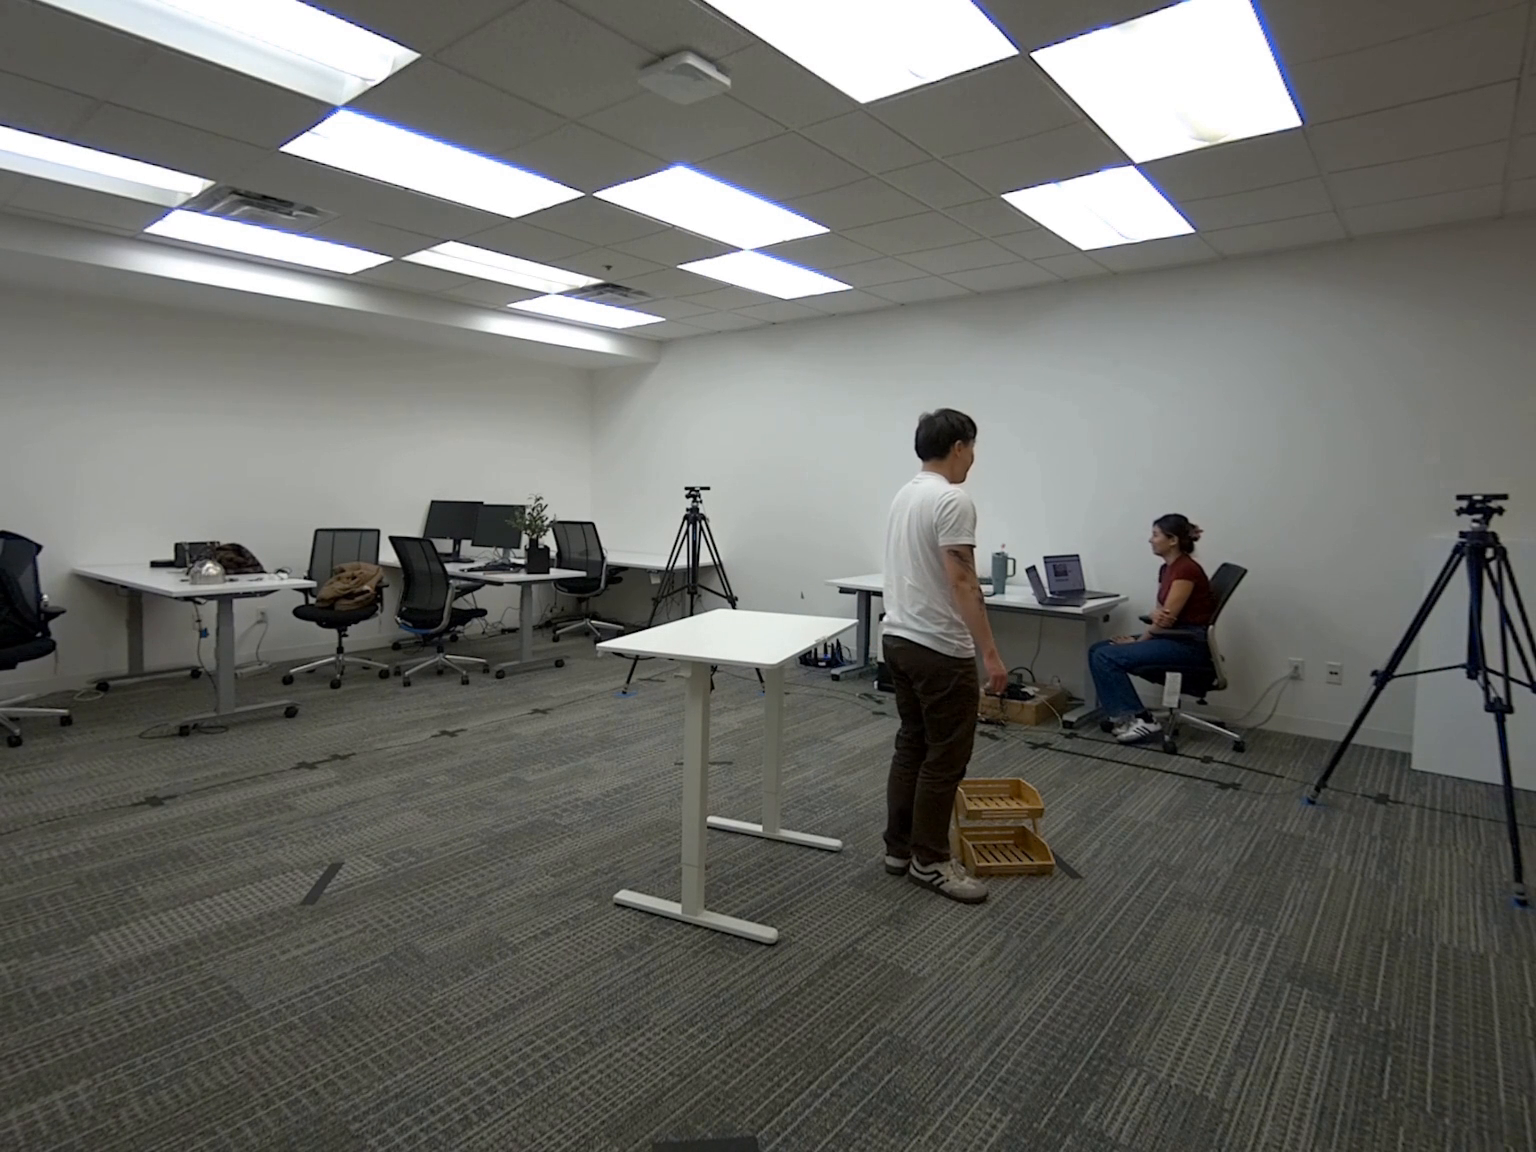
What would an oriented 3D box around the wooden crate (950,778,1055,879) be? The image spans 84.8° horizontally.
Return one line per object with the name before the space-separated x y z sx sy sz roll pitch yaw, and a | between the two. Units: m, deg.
wooden crate | 0.880 0.943 3.232 0.322 0.272 0.305 0 4 -8
